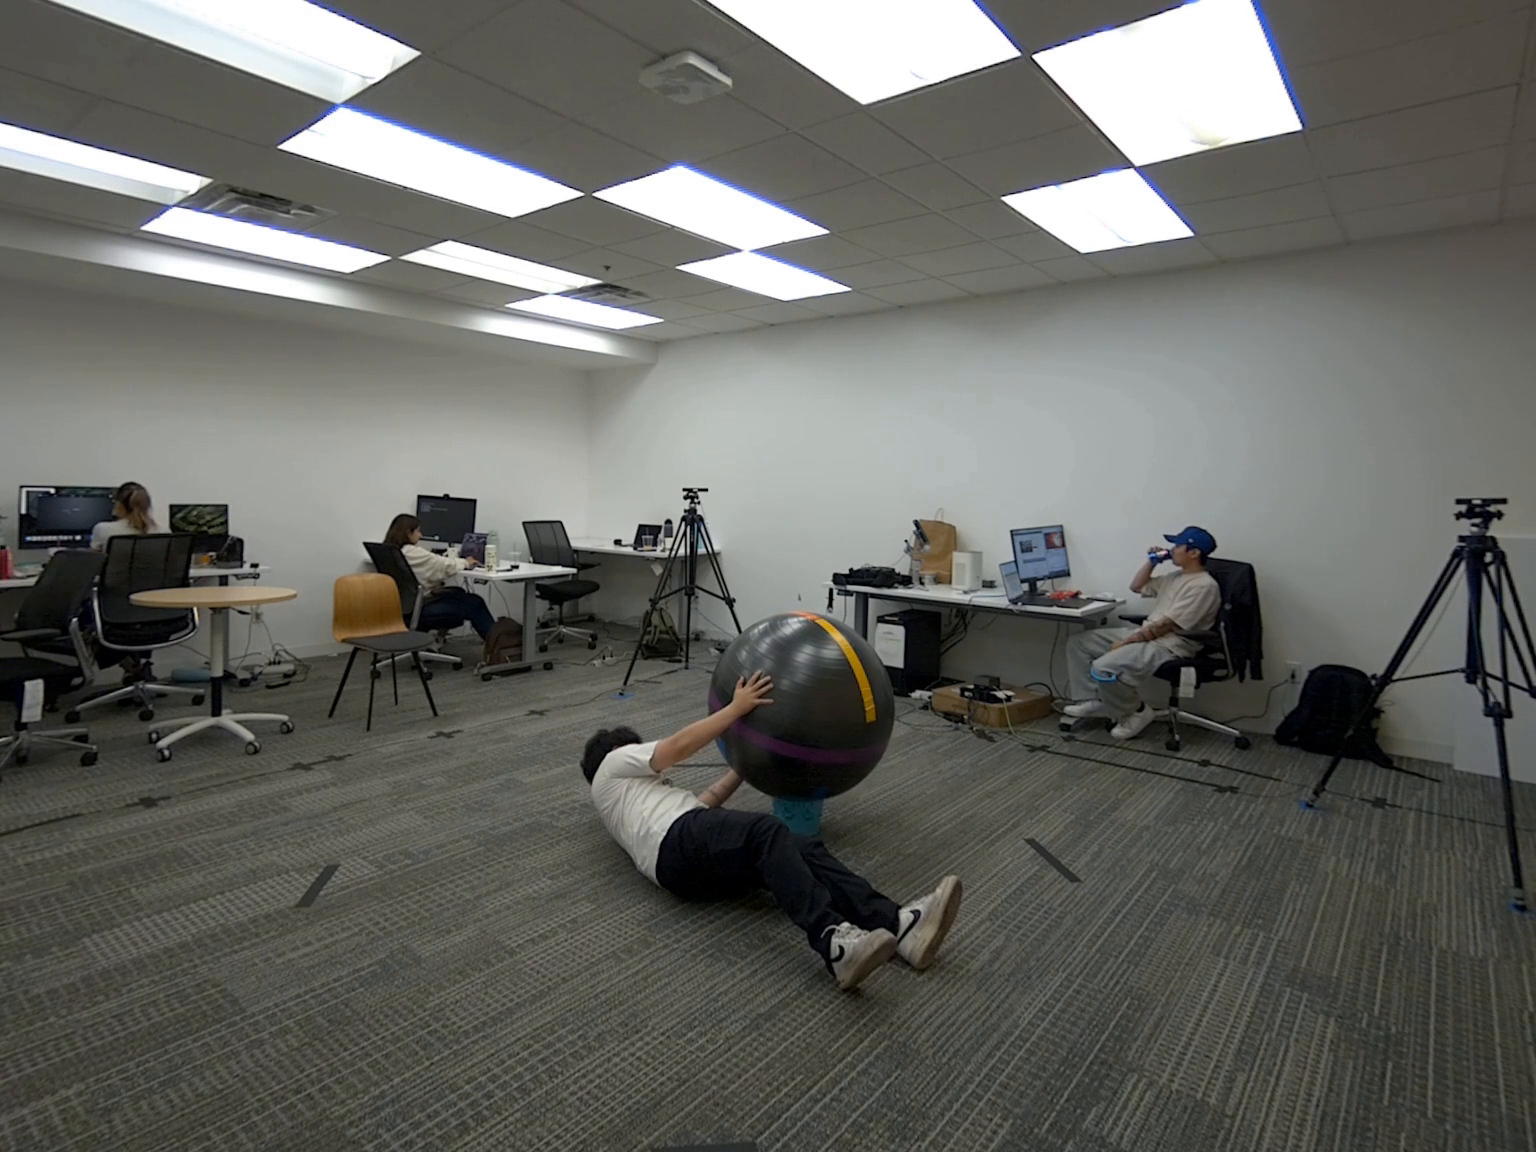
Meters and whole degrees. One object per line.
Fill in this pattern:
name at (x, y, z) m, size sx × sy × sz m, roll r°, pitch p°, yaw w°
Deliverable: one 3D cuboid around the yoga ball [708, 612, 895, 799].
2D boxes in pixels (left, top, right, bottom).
yoga ball at (0.135, 0.527, 3.491) m, size 0.757 × 0.756 × 0.761 m, roll 1°, pitch 4°, yaw -2°
